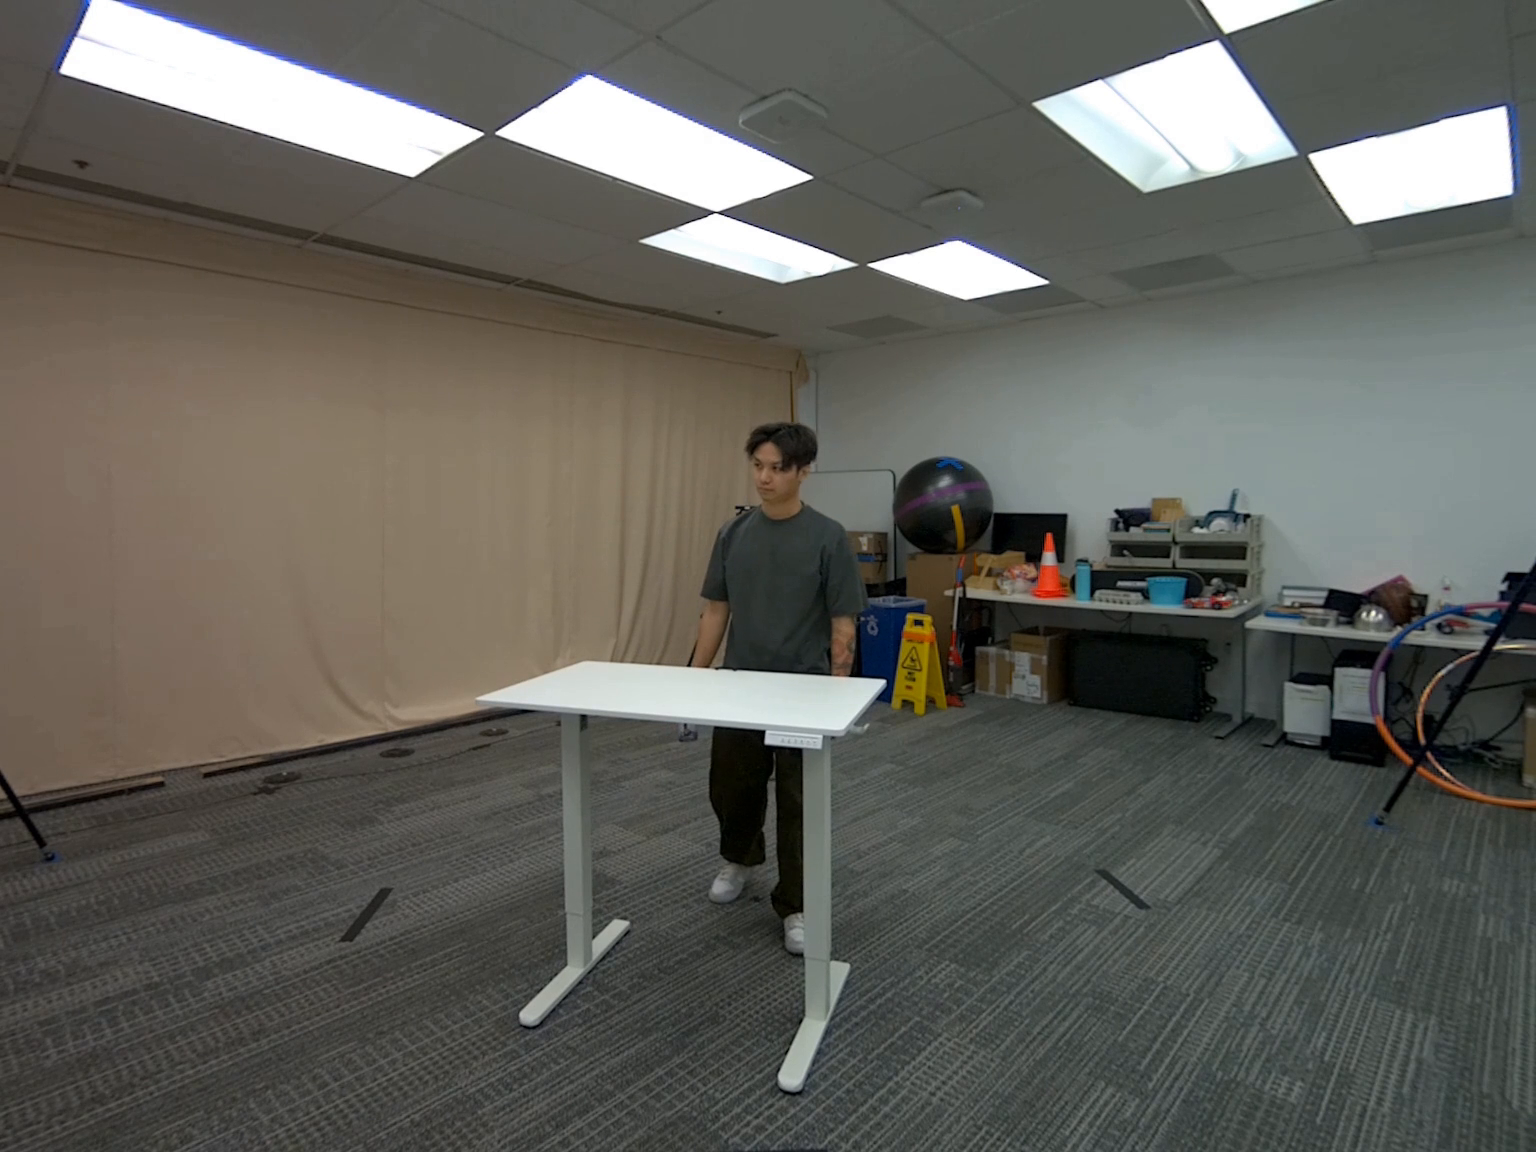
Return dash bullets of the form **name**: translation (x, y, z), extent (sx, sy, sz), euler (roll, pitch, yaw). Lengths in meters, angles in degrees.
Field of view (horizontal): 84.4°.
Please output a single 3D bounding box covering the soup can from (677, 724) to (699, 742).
- **soup can**: translation (-0.268, 0.502, 2.843), extent (0.067, 0.123, 0.066), euler (-2, -26, -3)
